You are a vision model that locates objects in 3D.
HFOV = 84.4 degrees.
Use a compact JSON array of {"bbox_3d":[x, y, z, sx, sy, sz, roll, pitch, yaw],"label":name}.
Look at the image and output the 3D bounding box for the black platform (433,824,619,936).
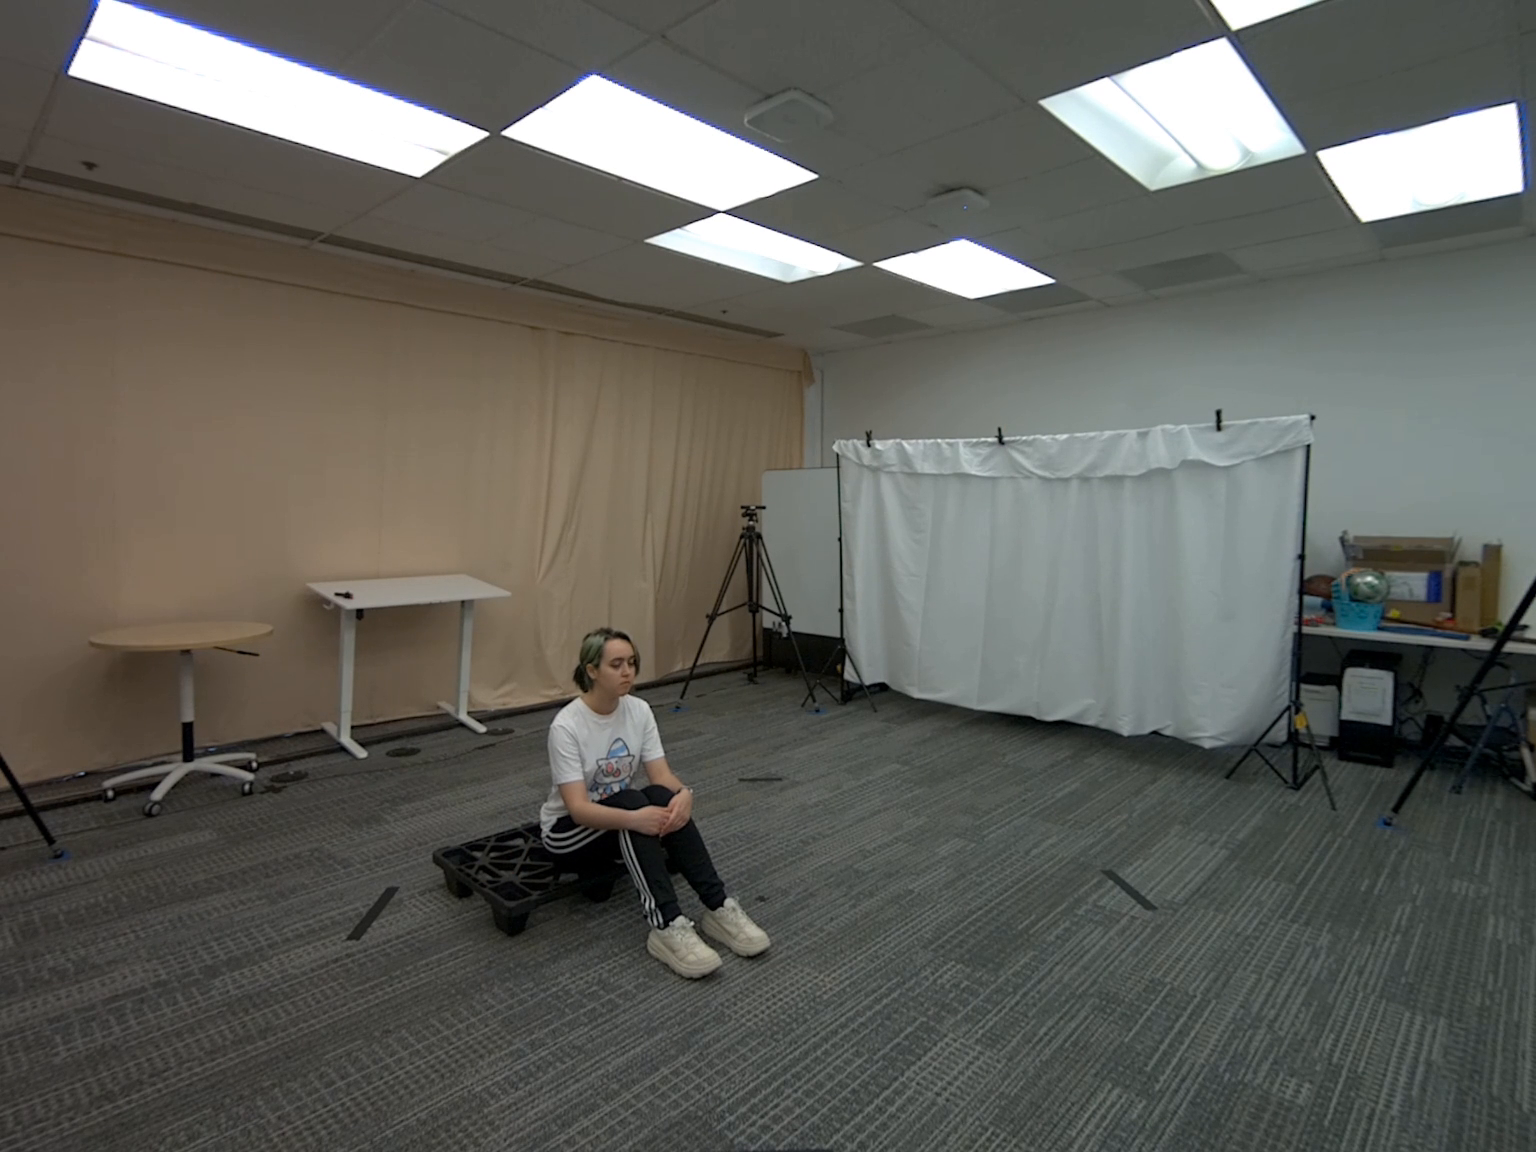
[{"bbox_3d":[-0.743,1.069,3.141,0.781,0.143,0.625,-5,7,-43],"label":"black platform"}]
